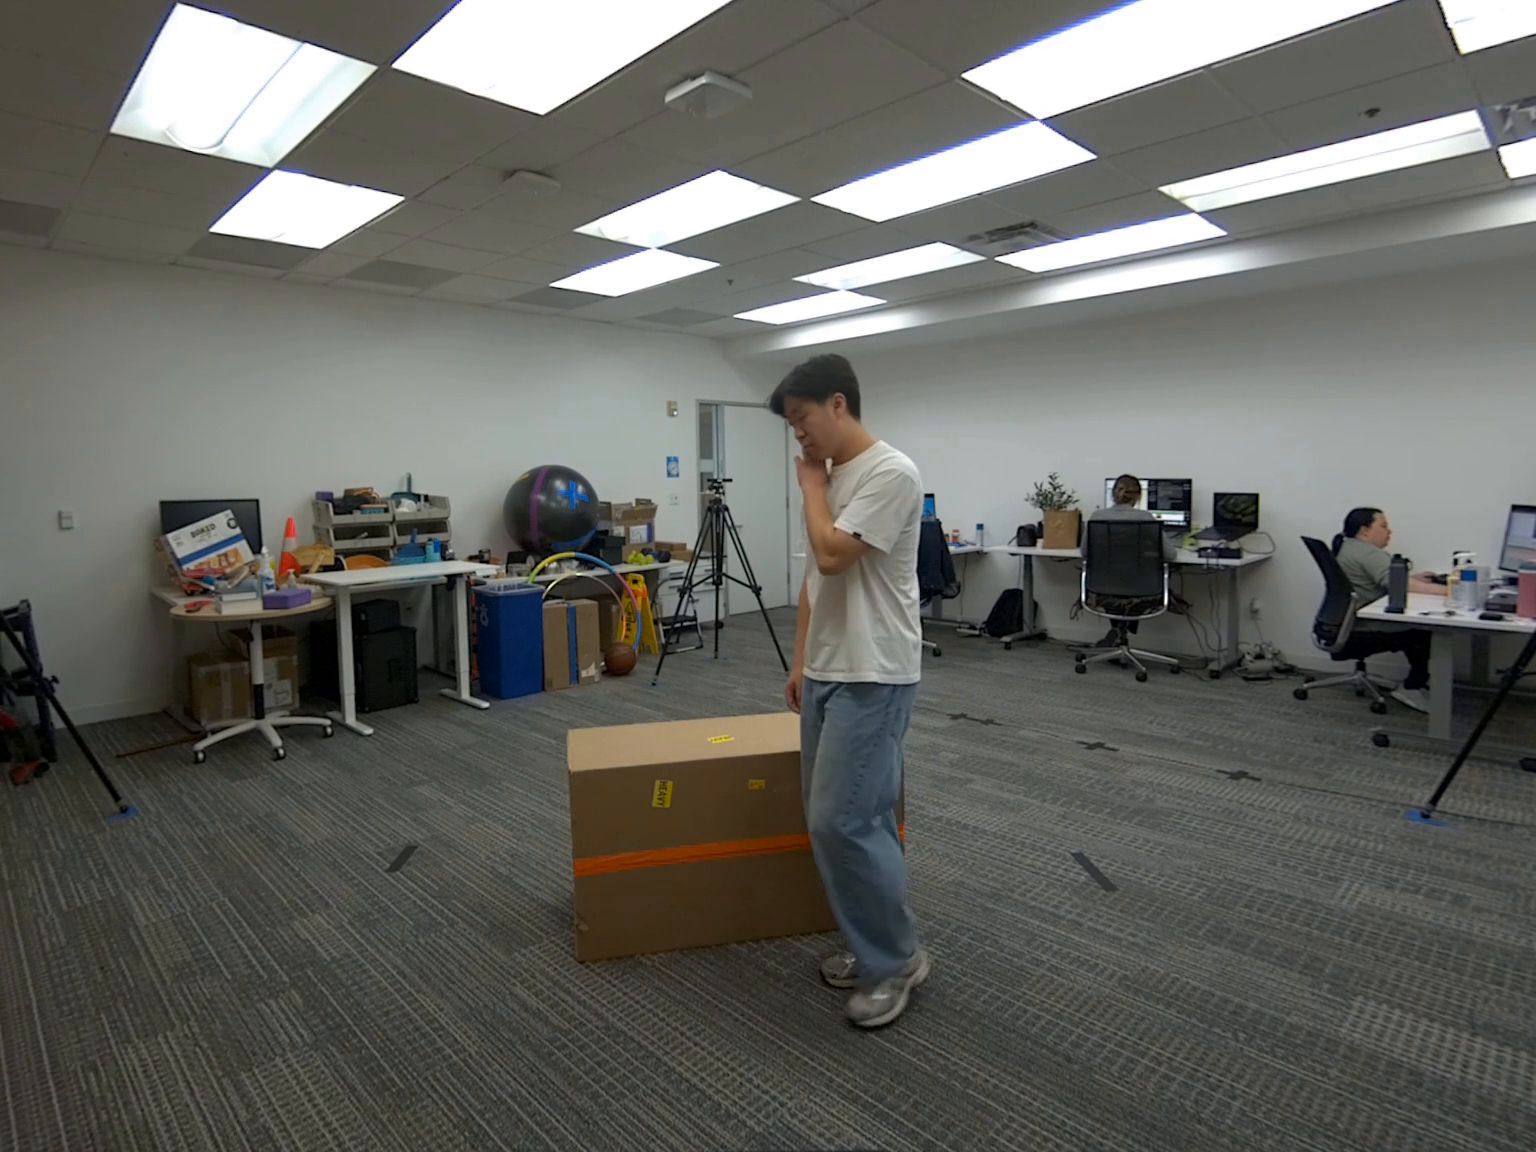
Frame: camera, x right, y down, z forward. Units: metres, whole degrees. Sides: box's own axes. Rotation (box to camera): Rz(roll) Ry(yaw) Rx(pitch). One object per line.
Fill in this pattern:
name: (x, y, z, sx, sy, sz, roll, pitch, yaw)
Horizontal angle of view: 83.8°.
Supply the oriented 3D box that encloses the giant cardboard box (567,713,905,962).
giant cardboard box: (-0.122, 0.797, 2.769, 1.015, 0.575, 0.432, -2, 5, -11)
